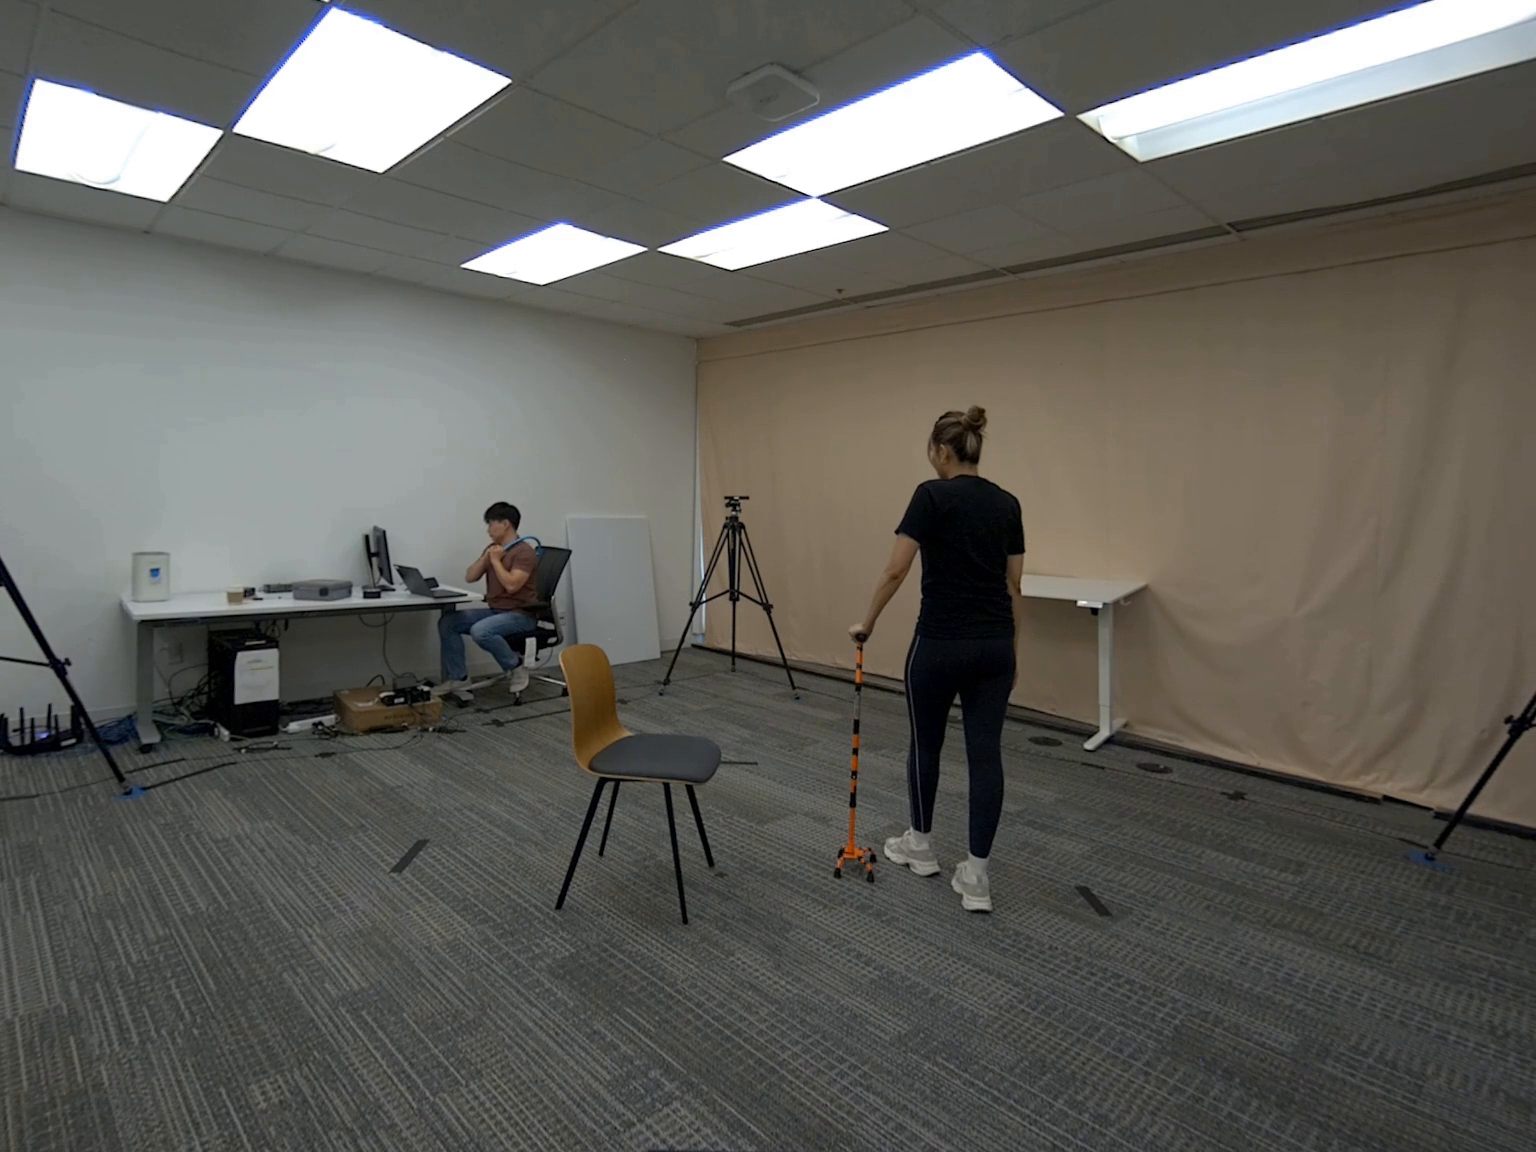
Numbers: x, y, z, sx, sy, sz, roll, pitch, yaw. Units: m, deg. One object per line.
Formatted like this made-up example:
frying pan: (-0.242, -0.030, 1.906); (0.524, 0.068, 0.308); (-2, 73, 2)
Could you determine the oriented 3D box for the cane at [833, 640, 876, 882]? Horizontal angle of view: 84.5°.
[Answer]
cane: (0.338, 0.650, 3.170); (0.152, 0.907, 0.206); (1, 1, 4)
